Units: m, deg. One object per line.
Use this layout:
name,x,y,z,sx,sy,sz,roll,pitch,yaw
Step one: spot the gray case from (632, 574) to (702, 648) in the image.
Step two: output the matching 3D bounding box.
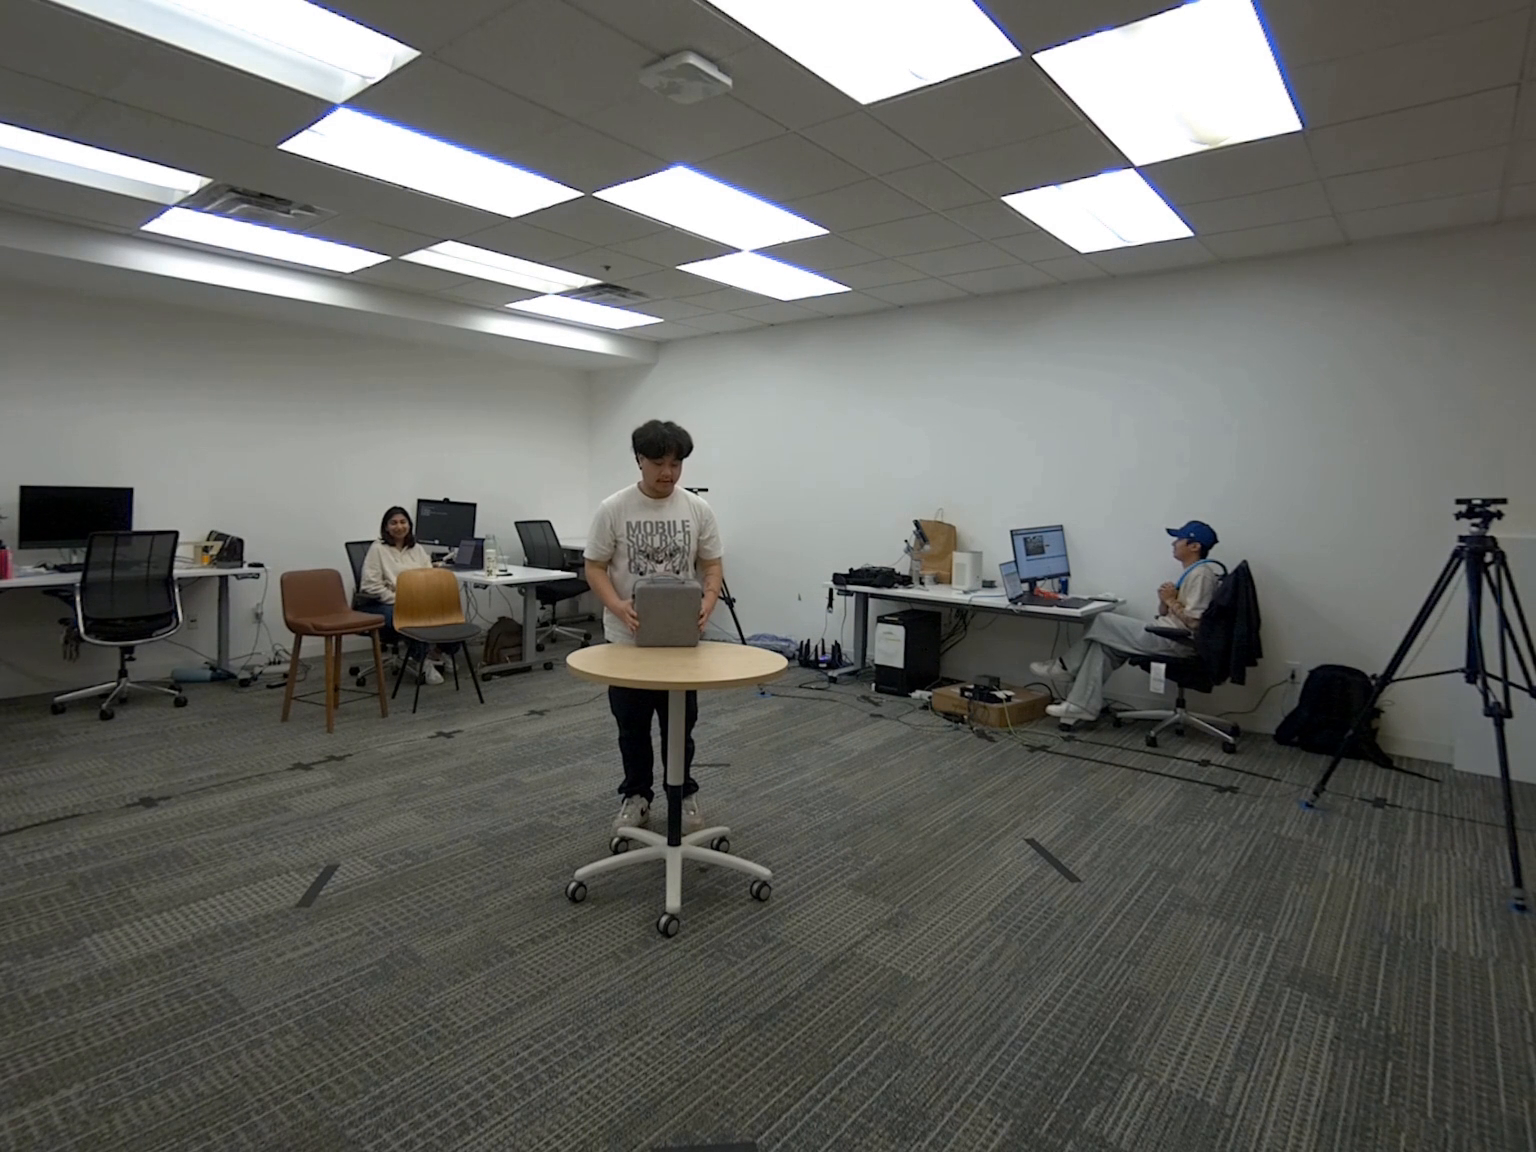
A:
gray case,-0.387,0.128,3.182,0.254,0.257,0.107,2,14,-9
